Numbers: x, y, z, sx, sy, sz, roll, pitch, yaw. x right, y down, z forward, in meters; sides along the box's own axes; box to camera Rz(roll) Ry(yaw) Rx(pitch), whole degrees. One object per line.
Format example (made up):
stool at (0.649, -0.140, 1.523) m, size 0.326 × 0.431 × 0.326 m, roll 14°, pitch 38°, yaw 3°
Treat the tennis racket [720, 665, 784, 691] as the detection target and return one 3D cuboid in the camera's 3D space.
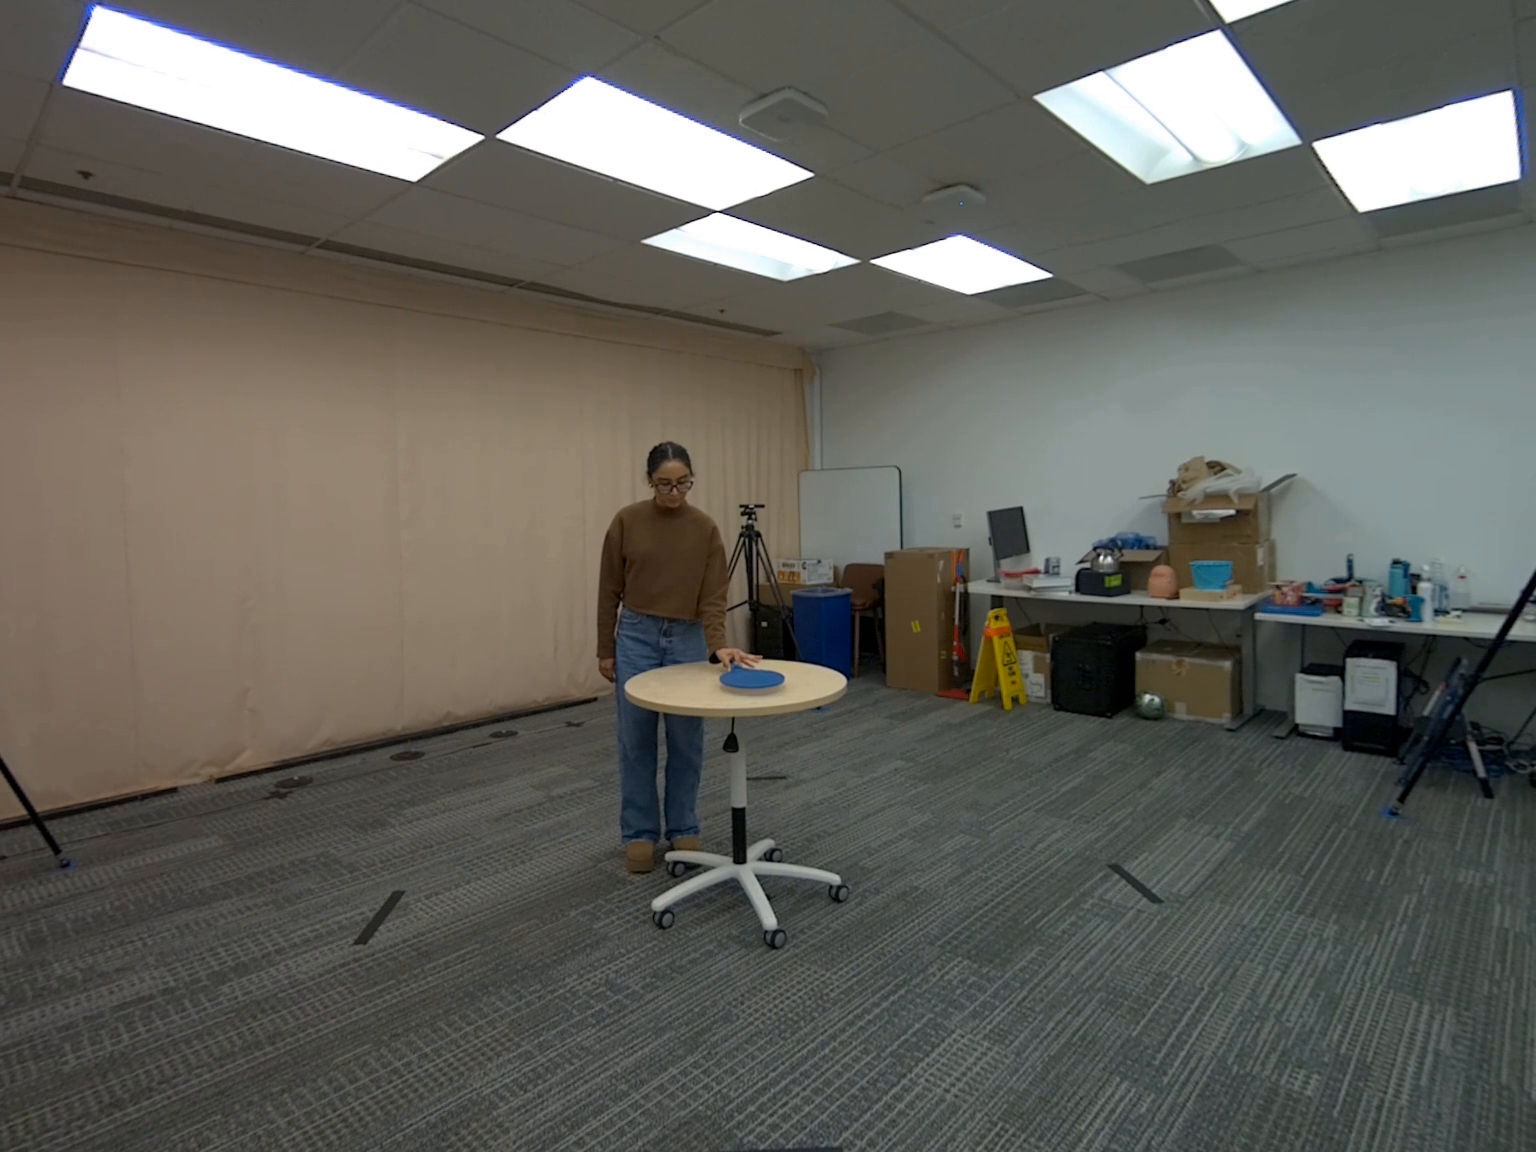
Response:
tennis racket at (-0.081, 0.337, 2.887) m, size 0.210 × 0.031 × 0.441 m, roll -3°, pitch 5°, yaw -18°
